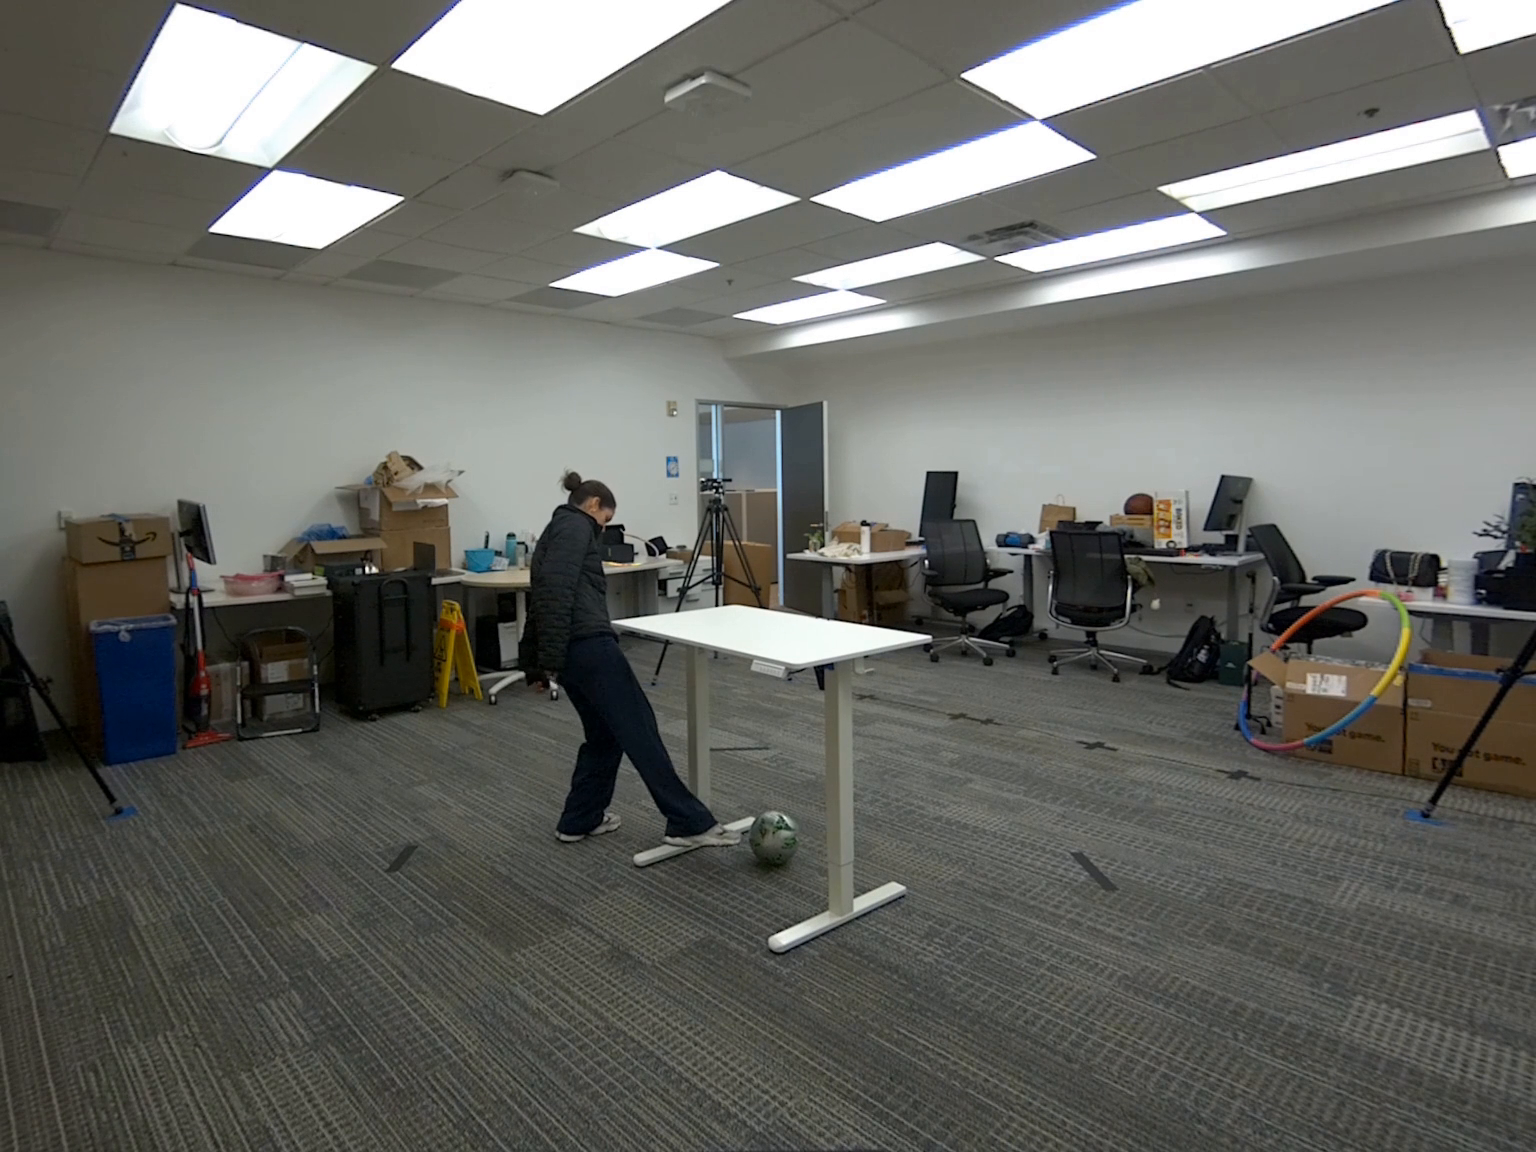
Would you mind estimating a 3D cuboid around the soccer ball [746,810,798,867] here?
[{"bbox_3d":[0.027,0.945,3.103,0.187,0.187,0.188,-1,5,-2],"label":"soccer ball"}]
